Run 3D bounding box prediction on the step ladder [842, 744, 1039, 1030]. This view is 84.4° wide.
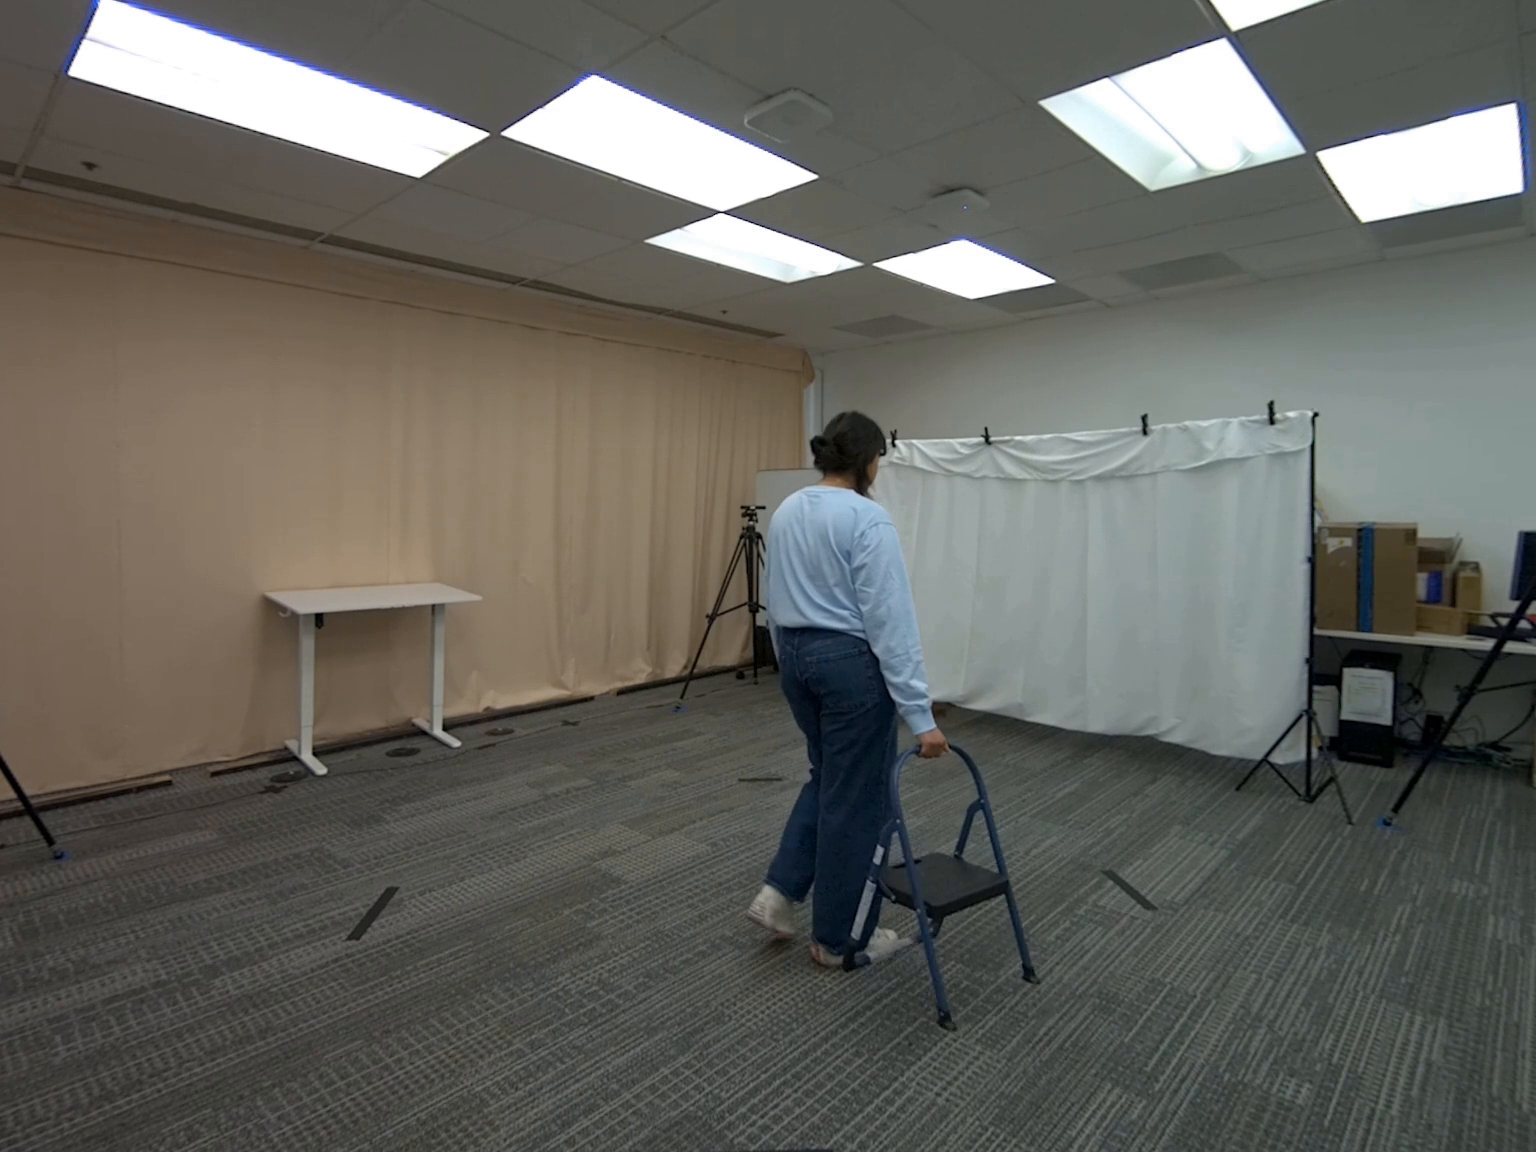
[{"bbox_3d":[0.488,0.774,2.268,0.416,0.606,0.361,5,-1,-44],"label":"step ladder"}]
